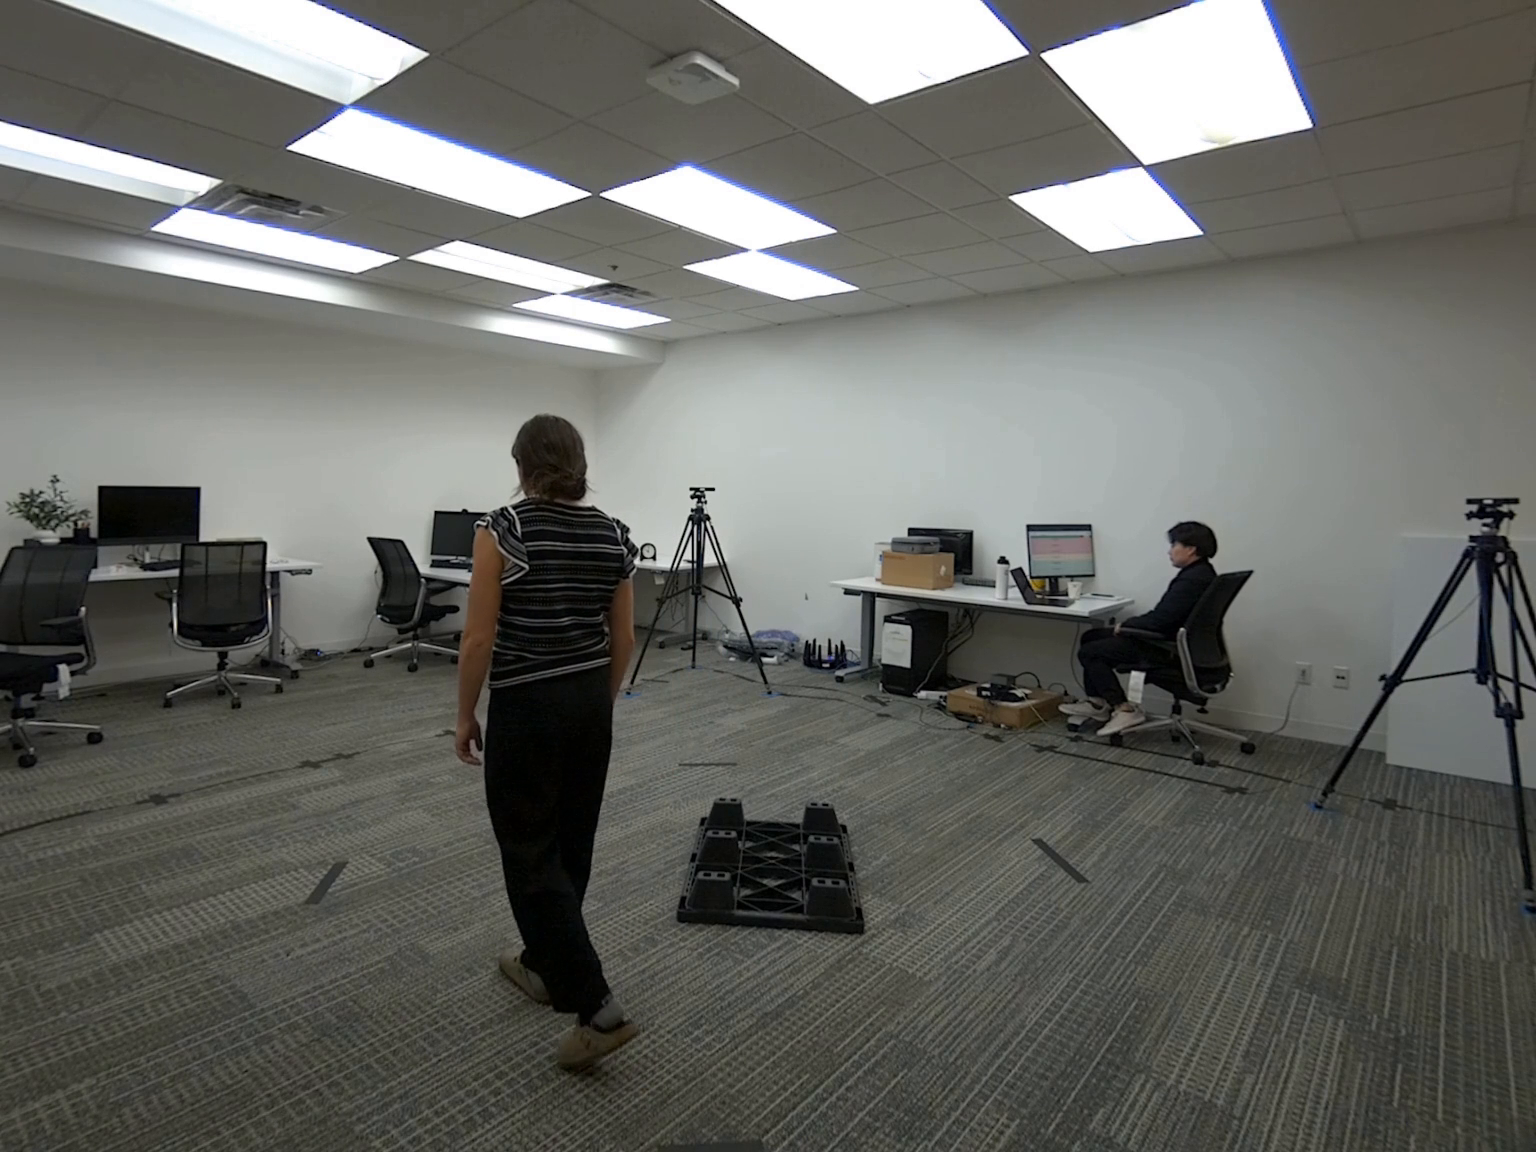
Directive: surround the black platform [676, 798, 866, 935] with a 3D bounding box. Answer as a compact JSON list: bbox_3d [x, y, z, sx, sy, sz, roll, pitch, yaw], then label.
[{"bbox_3d":[0.010,1.006,3.079,0.607,0.143,0.806,1,5,2],"label":"black platform"}]
